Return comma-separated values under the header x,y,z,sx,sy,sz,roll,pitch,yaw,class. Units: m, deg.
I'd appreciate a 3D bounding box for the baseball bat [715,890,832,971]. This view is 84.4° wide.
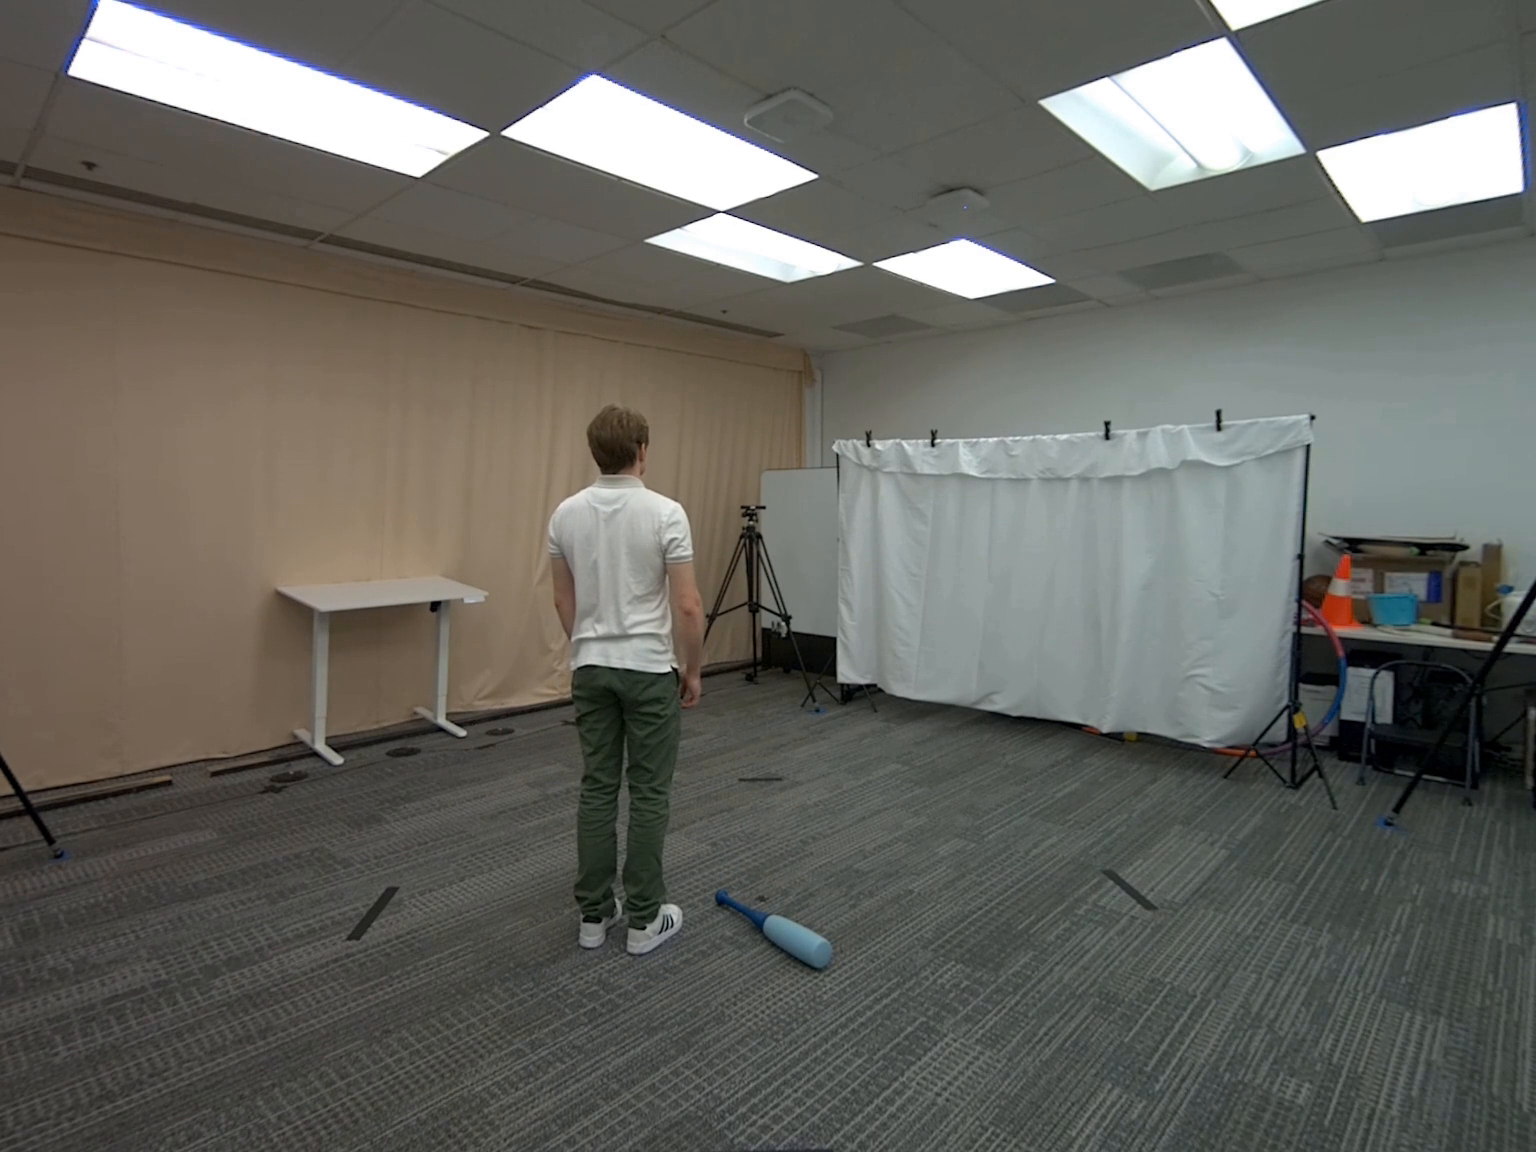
x,y,z,sx,sy,sz,roll,pitch,yaw,class
-0.004,1.128,2.727,0.086,0.089,0.560,-3,2,-37,baseball bat
